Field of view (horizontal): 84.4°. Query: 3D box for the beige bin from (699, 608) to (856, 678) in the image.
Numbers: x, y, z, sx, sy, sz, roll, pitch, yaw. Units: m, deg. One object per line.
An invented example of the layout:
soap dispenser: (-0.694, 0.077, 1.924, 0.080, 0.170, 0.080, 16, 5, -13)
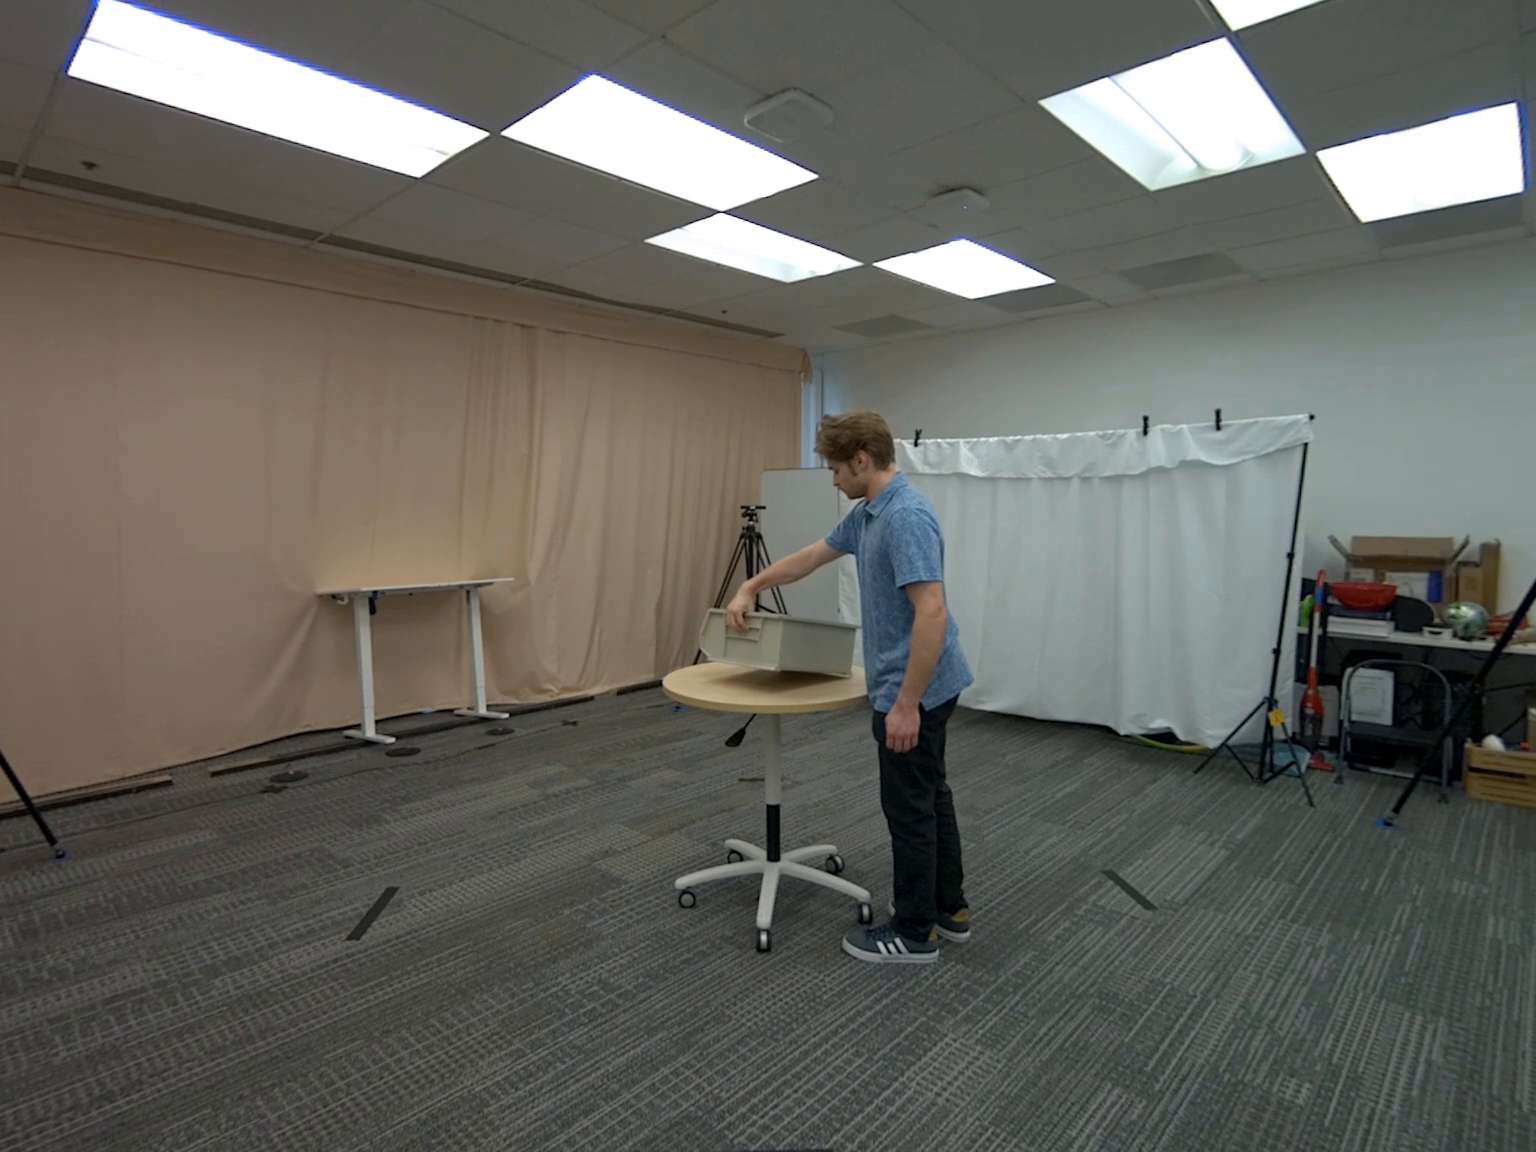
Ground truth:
beige bin: (0.042, 0.231, 2.933, 0.408, 0.189, 0.390, 11, -4, -44)
